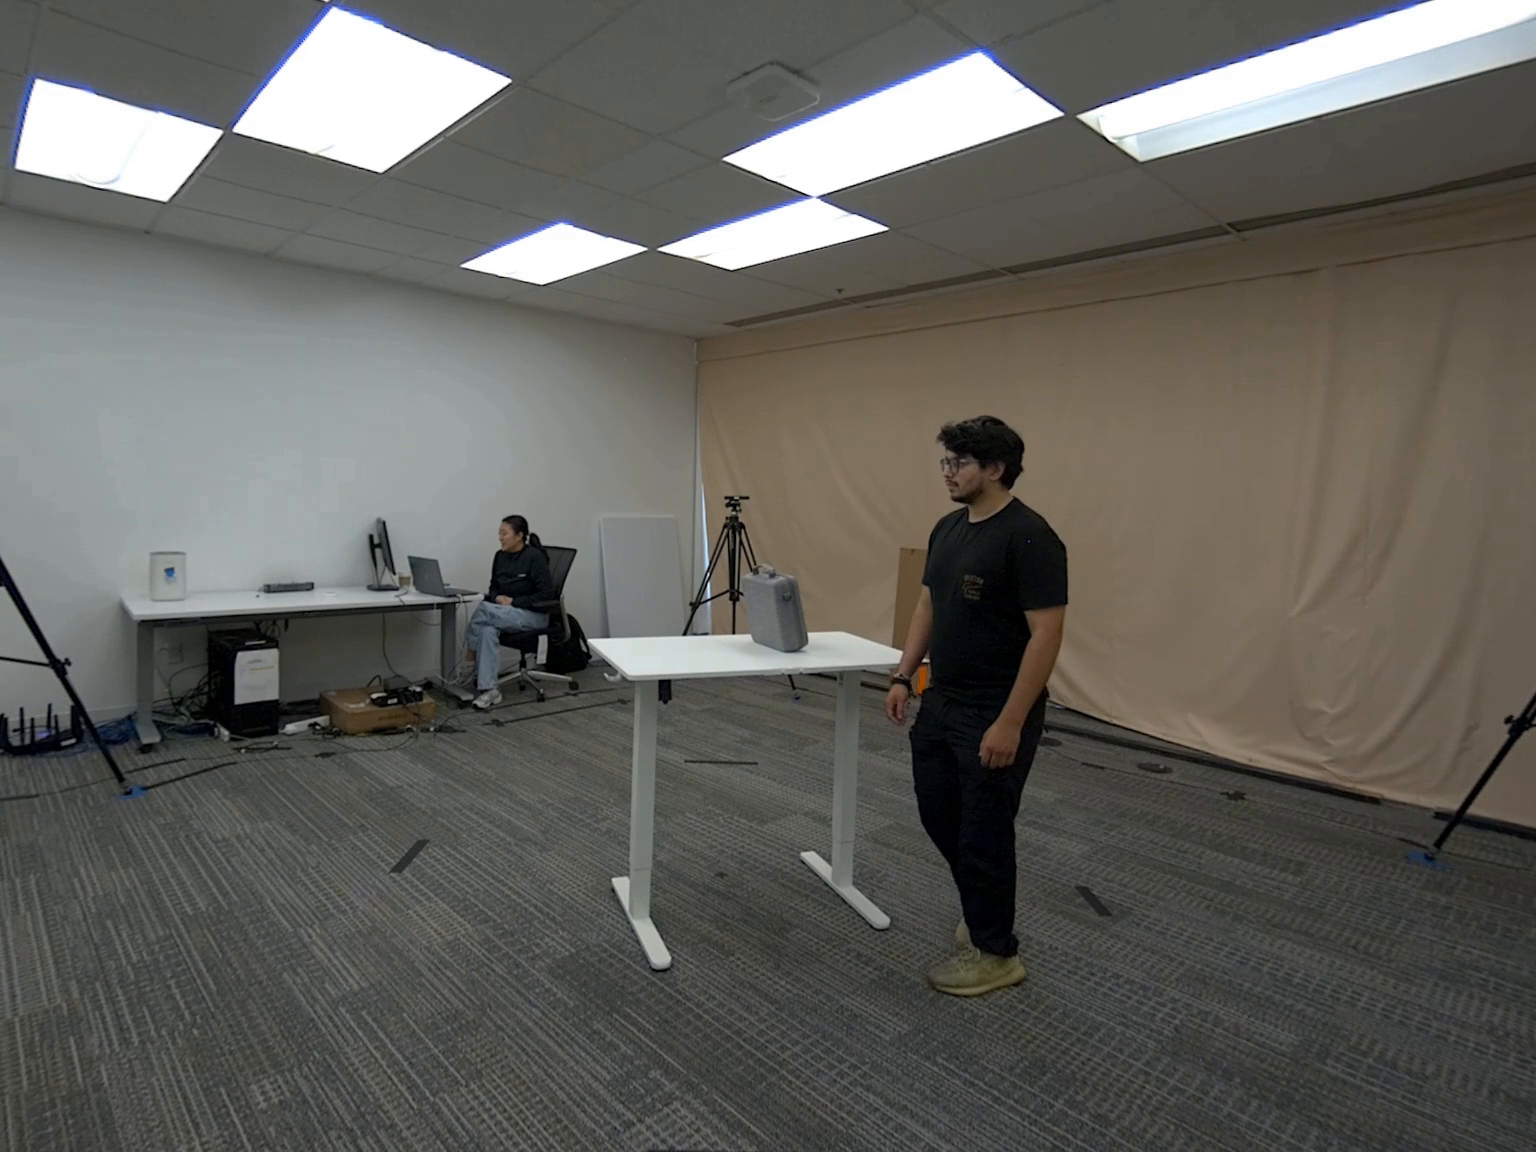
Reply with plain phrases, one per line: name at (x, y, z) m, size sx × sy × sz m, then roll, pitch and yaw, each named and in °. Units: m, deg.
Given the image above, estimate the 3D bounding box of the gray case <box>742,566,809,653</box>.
gray case at (0.013, 0.113, 2.884) m, size 0.103 × 0.258 × 0.262 m, roll -13°, pitch 10°, yaw -24°
